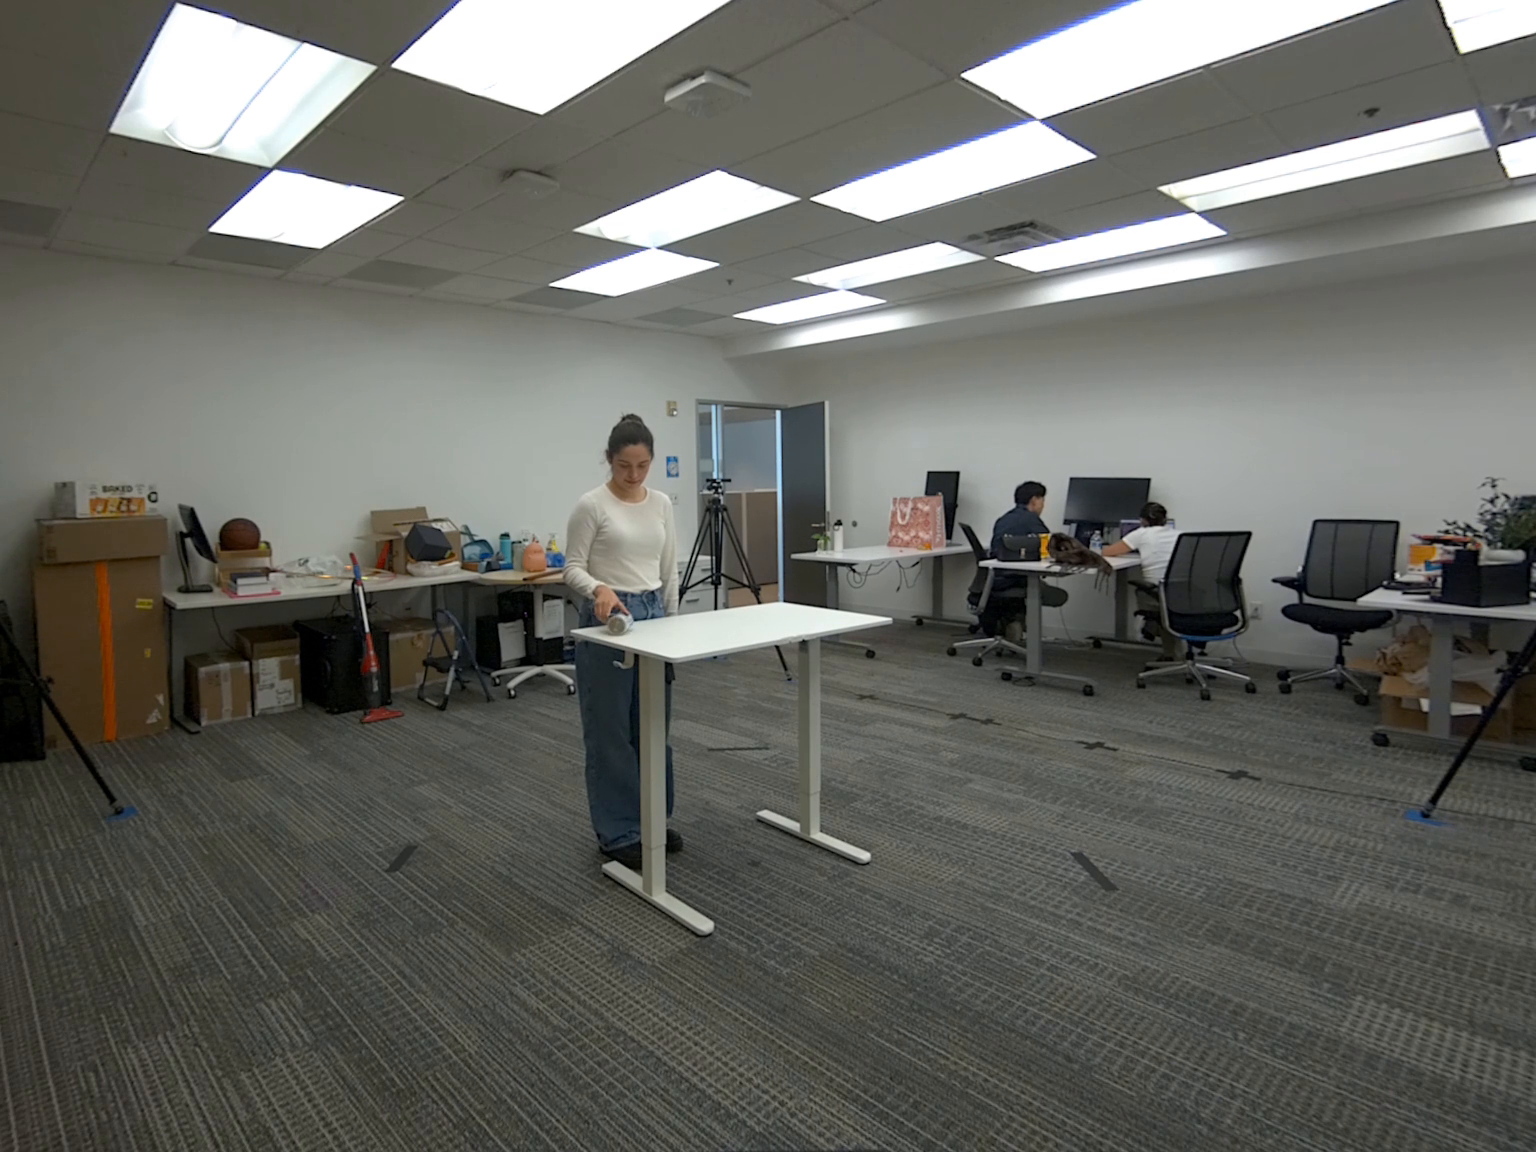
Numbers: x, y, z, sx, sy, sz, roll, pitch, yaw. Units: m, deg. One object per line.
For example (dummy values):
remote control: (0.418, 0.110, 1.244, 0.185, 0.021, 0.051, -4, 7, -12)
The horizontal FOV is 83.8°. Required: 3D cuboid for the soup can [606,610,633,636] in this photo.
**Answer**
soup can: (-0.496, 0.160, 2.877, 0.067, 0.067, 0.122, -1, 6, 2)
